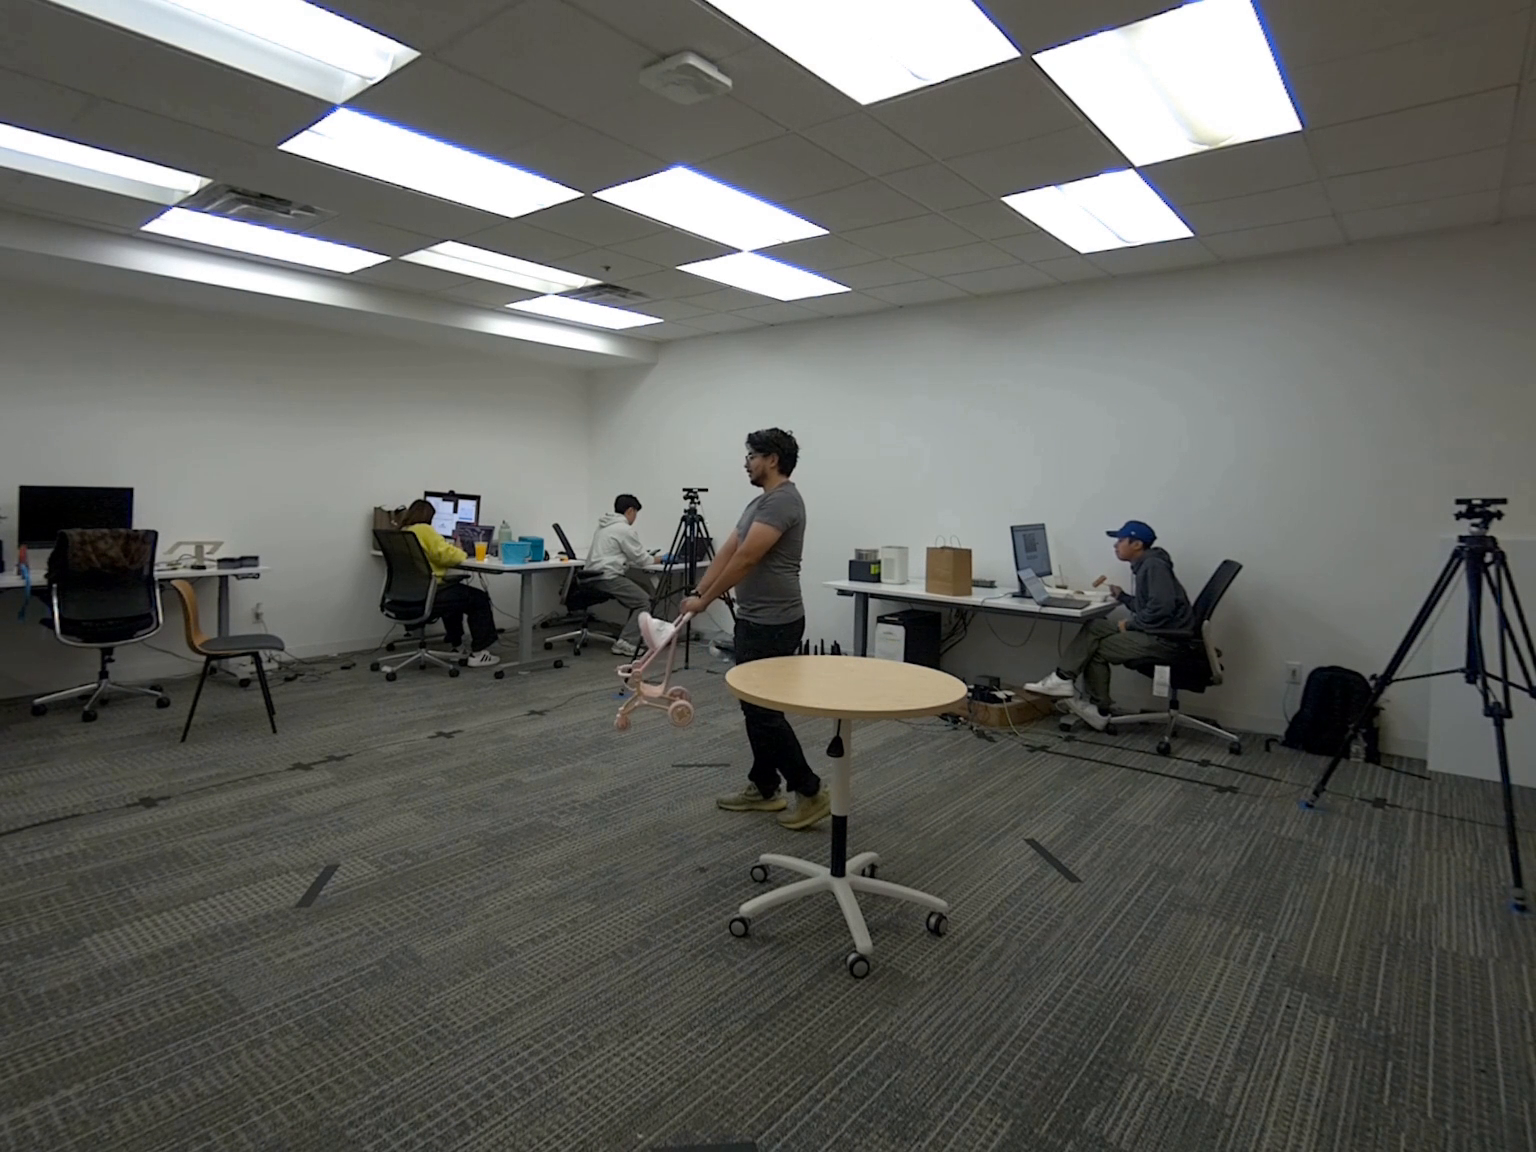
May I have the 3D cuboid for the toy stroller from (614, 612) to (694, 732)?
[{"bbox_3d":[-0.491,0.392,3.570,0.341,0.533,0.283,1,4,-3],"label":"toy stroller"}]
